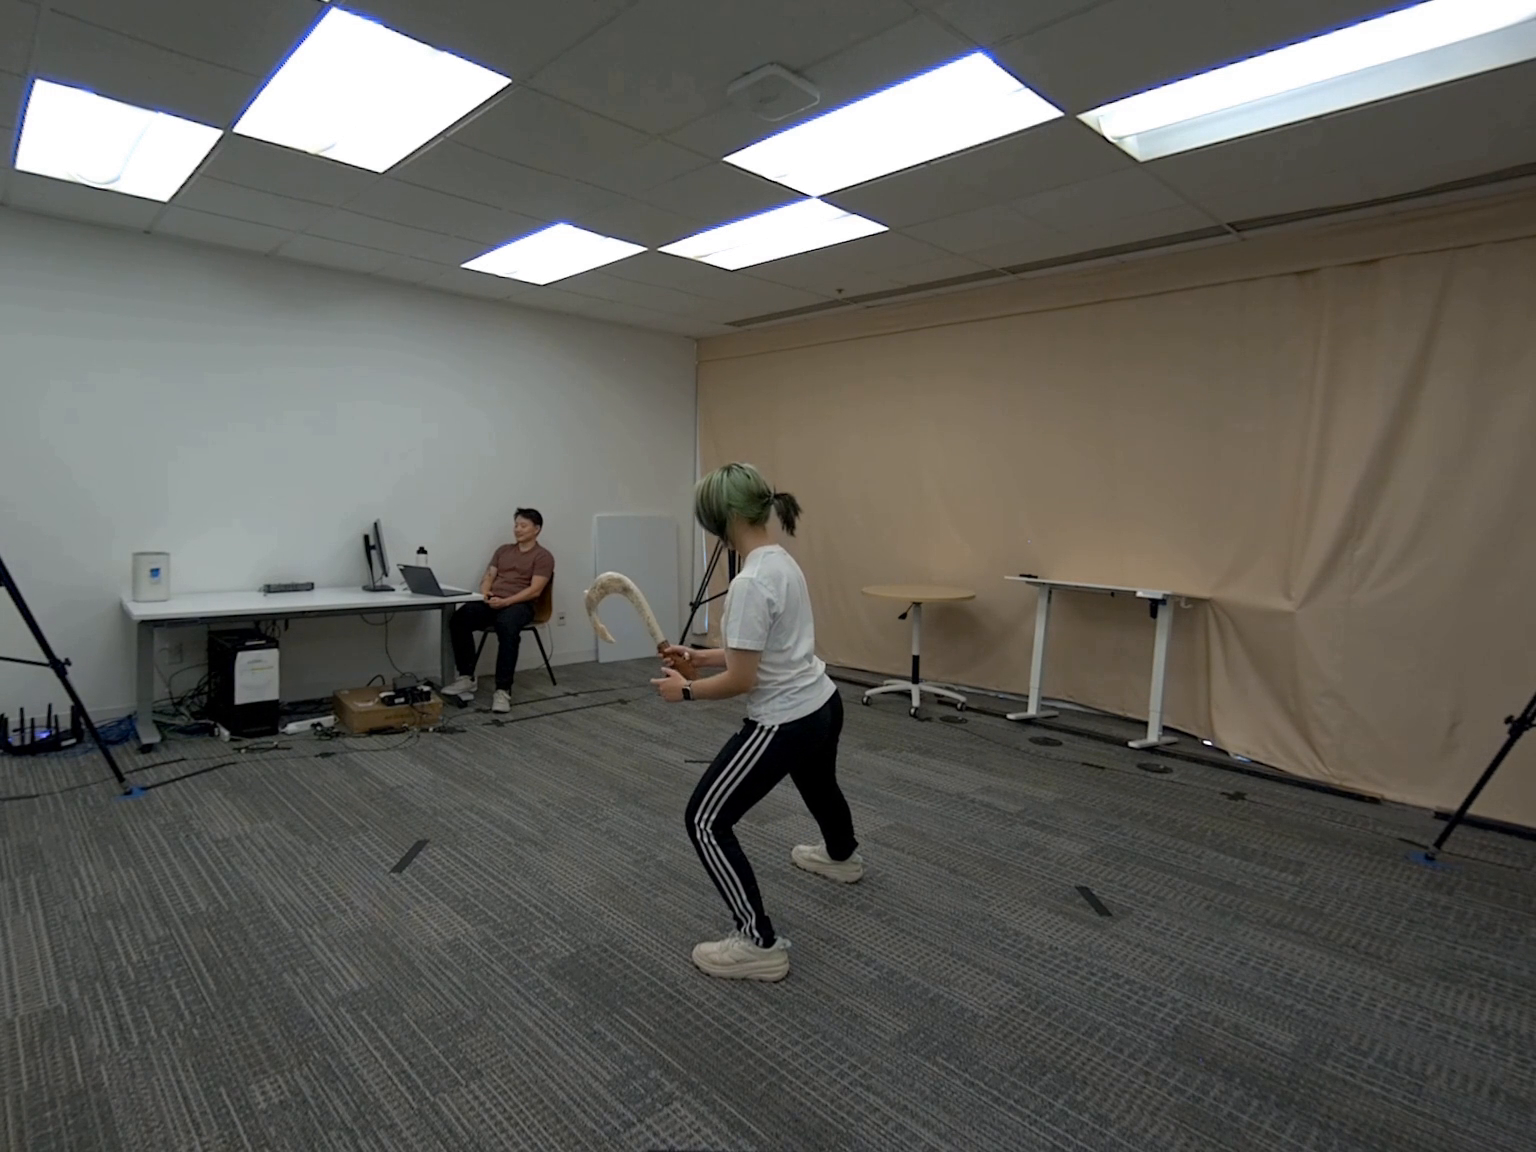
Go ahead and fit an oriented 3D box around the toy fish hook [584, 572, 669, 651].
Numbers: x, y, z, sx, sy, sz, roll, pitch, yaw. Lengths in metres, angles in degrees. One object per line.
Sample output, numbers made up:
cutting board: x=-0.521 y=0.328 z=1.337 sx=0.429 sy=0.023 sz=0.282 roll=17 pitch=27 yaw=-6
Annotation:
toy fish hook: x=-0.410 y=0.208 z=2.752 sx=0.225 sy=0.513 sz=0.048 roll=-46 pitch=-12 yaw=23
